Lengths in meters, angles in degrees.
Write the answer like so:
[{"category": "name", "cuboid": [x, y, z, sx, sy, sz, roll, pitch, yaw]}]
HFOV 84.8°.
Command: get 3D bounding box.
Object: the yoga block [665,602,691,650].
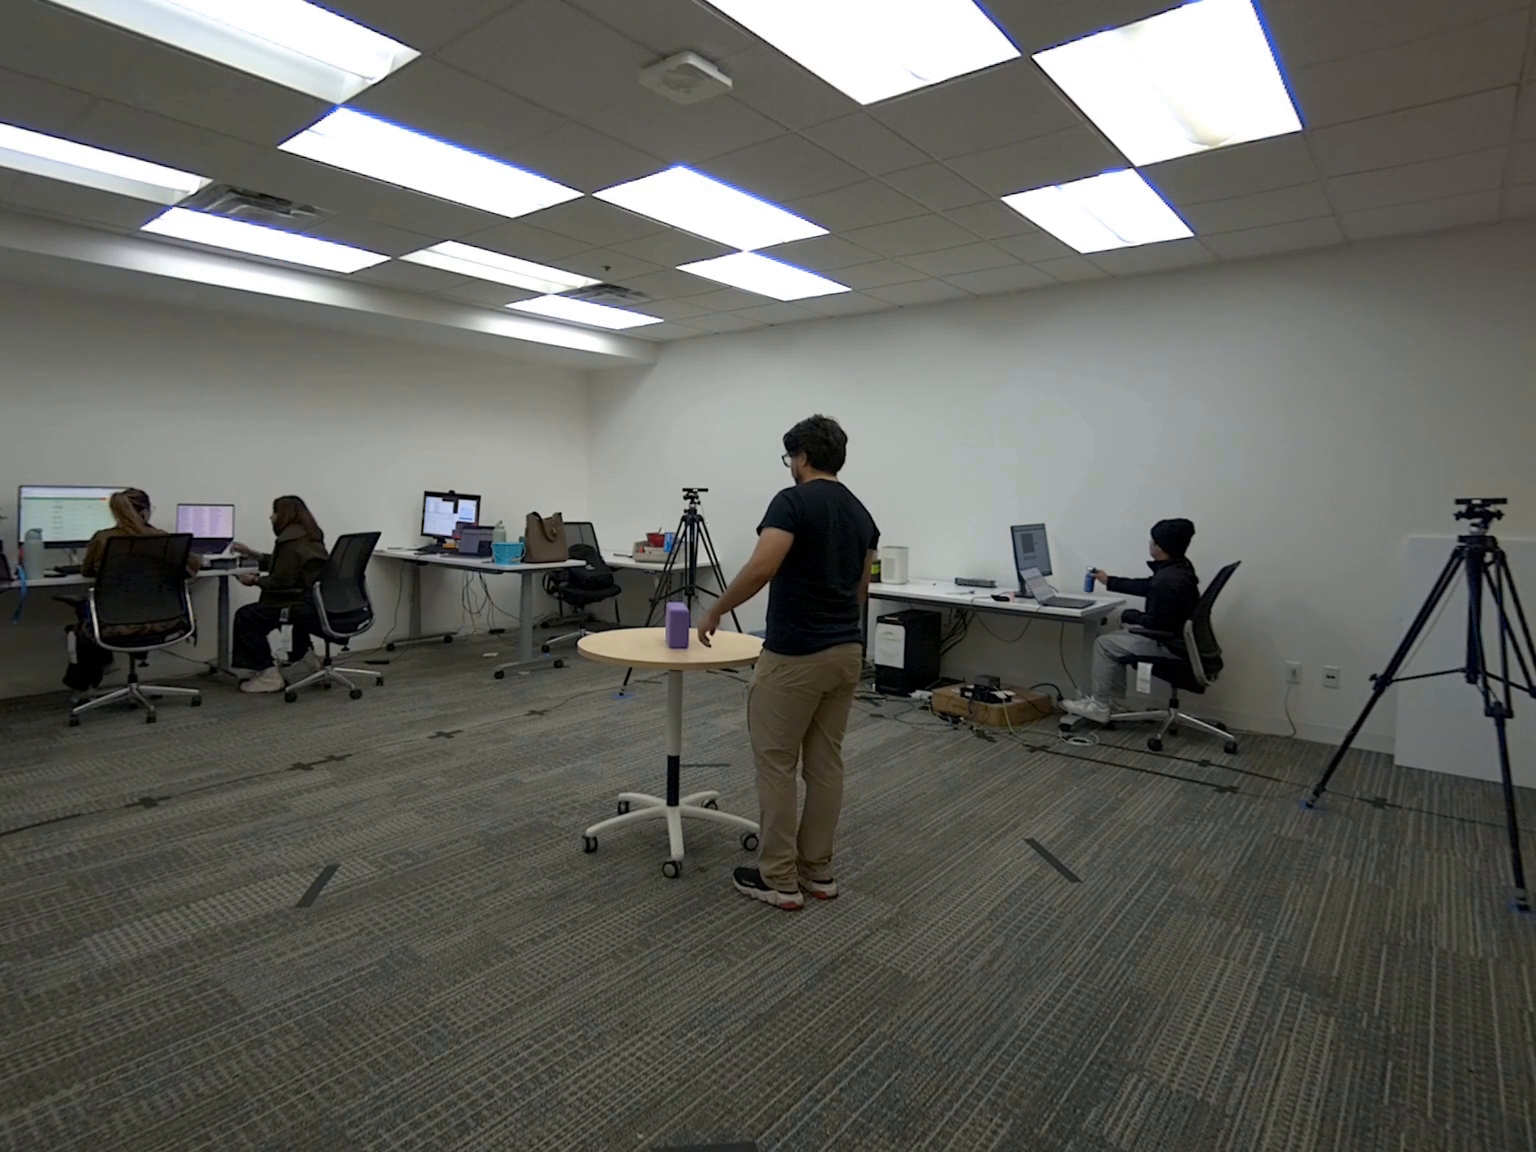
[{"category": "yoga block", "cuboid": [-0.367, 0.187, 3.337, 0.076, 0.148, 0.232, 0, 5, -8]}]
